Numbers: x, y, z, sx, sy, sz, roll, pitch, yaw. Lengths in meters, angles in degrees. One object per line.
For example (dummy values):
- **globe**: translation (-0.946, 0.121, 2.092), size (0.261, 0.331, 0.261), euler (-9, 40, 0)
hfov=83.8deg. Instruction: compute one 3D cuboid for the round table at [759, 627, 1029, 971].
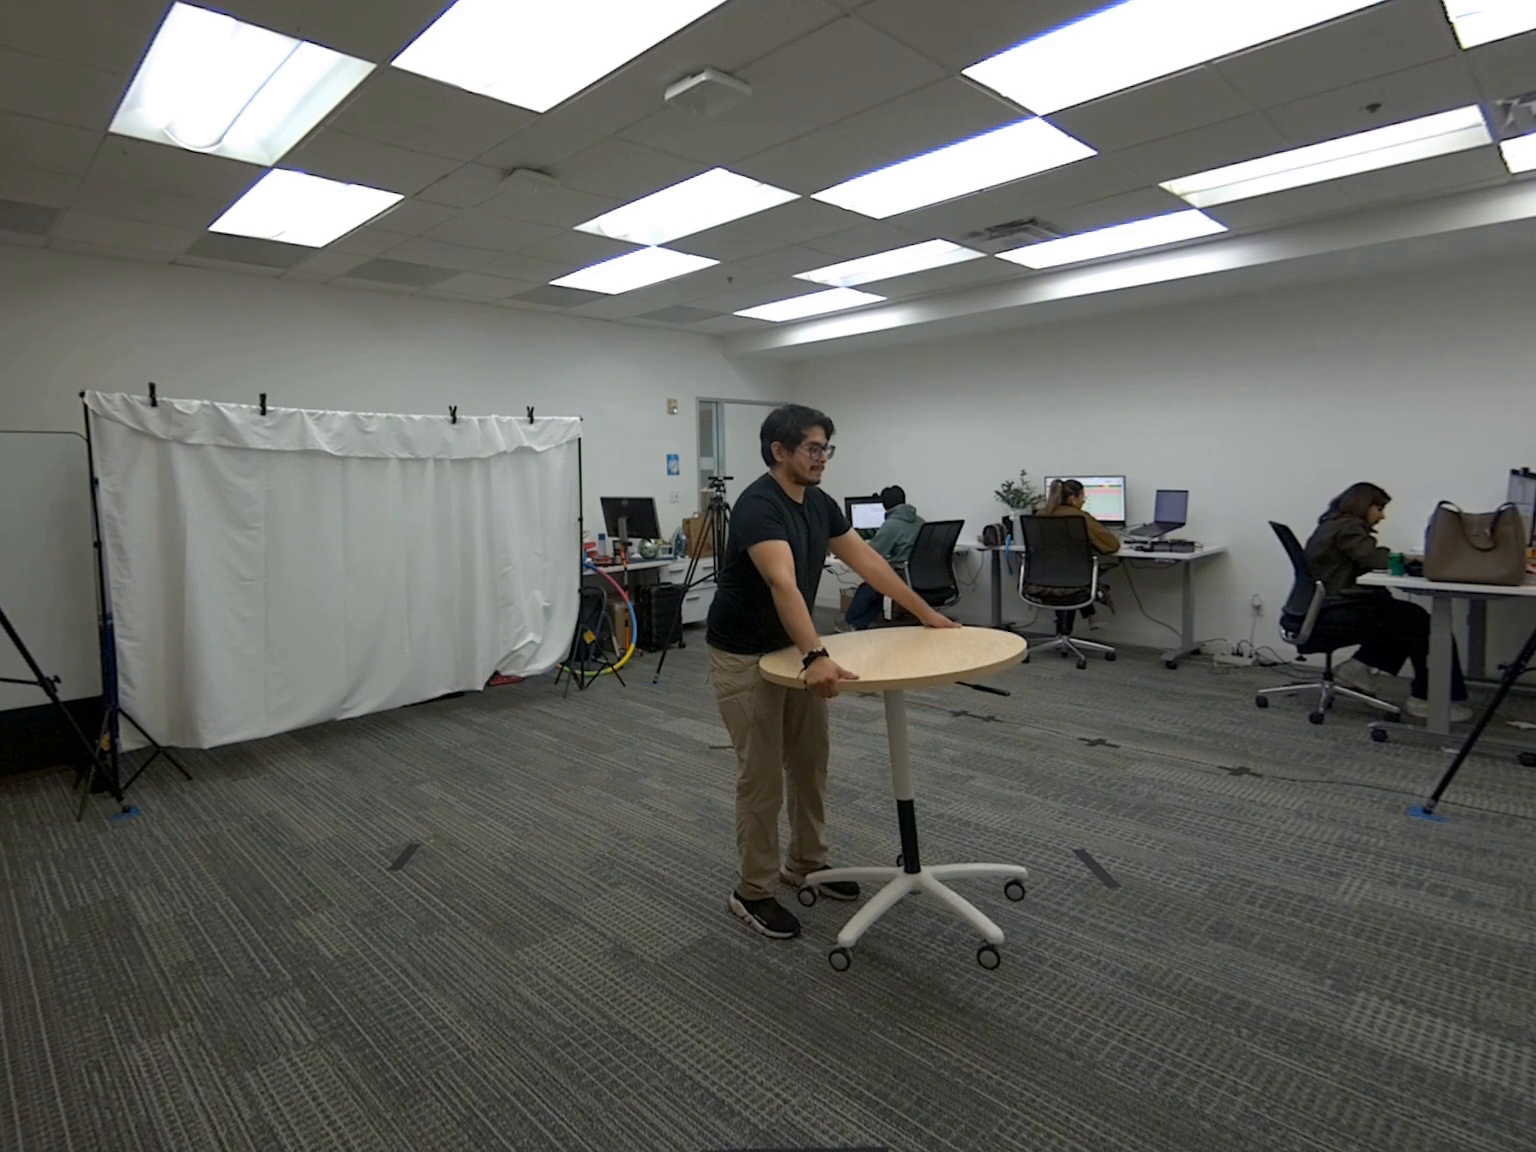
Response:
- **round table**: translation (0.412, 0.613, 2.530), size (0.785, 0.785, 0.788), euler (-6, 3, -1)
